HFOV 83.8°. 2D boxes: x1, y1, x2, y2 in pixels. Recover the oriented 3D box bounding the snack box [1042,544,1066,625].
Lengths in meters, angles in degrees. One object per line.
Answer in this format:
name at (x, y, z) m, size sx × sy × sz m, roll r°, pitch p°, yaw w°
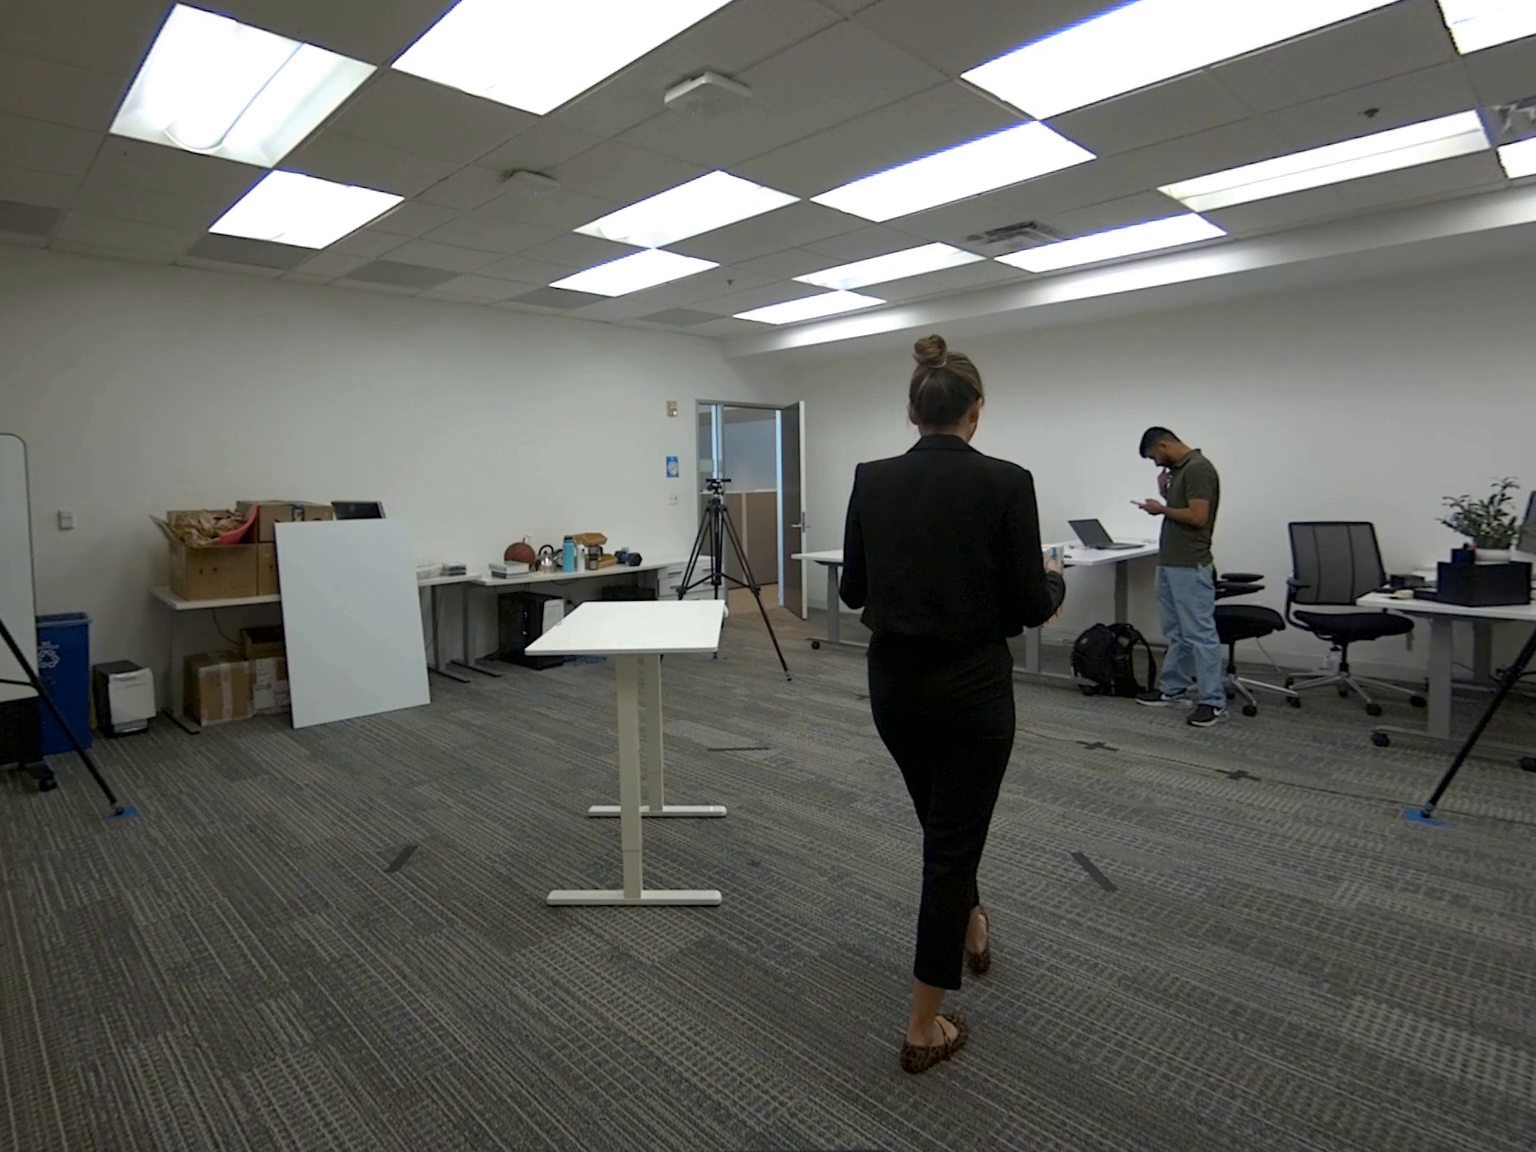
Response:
snack box at (0.618, 0.009, 2.457) m, size 0.415 × 0.205 × 0.333 m, roll 3°, pitch 5°, yaw 28°
